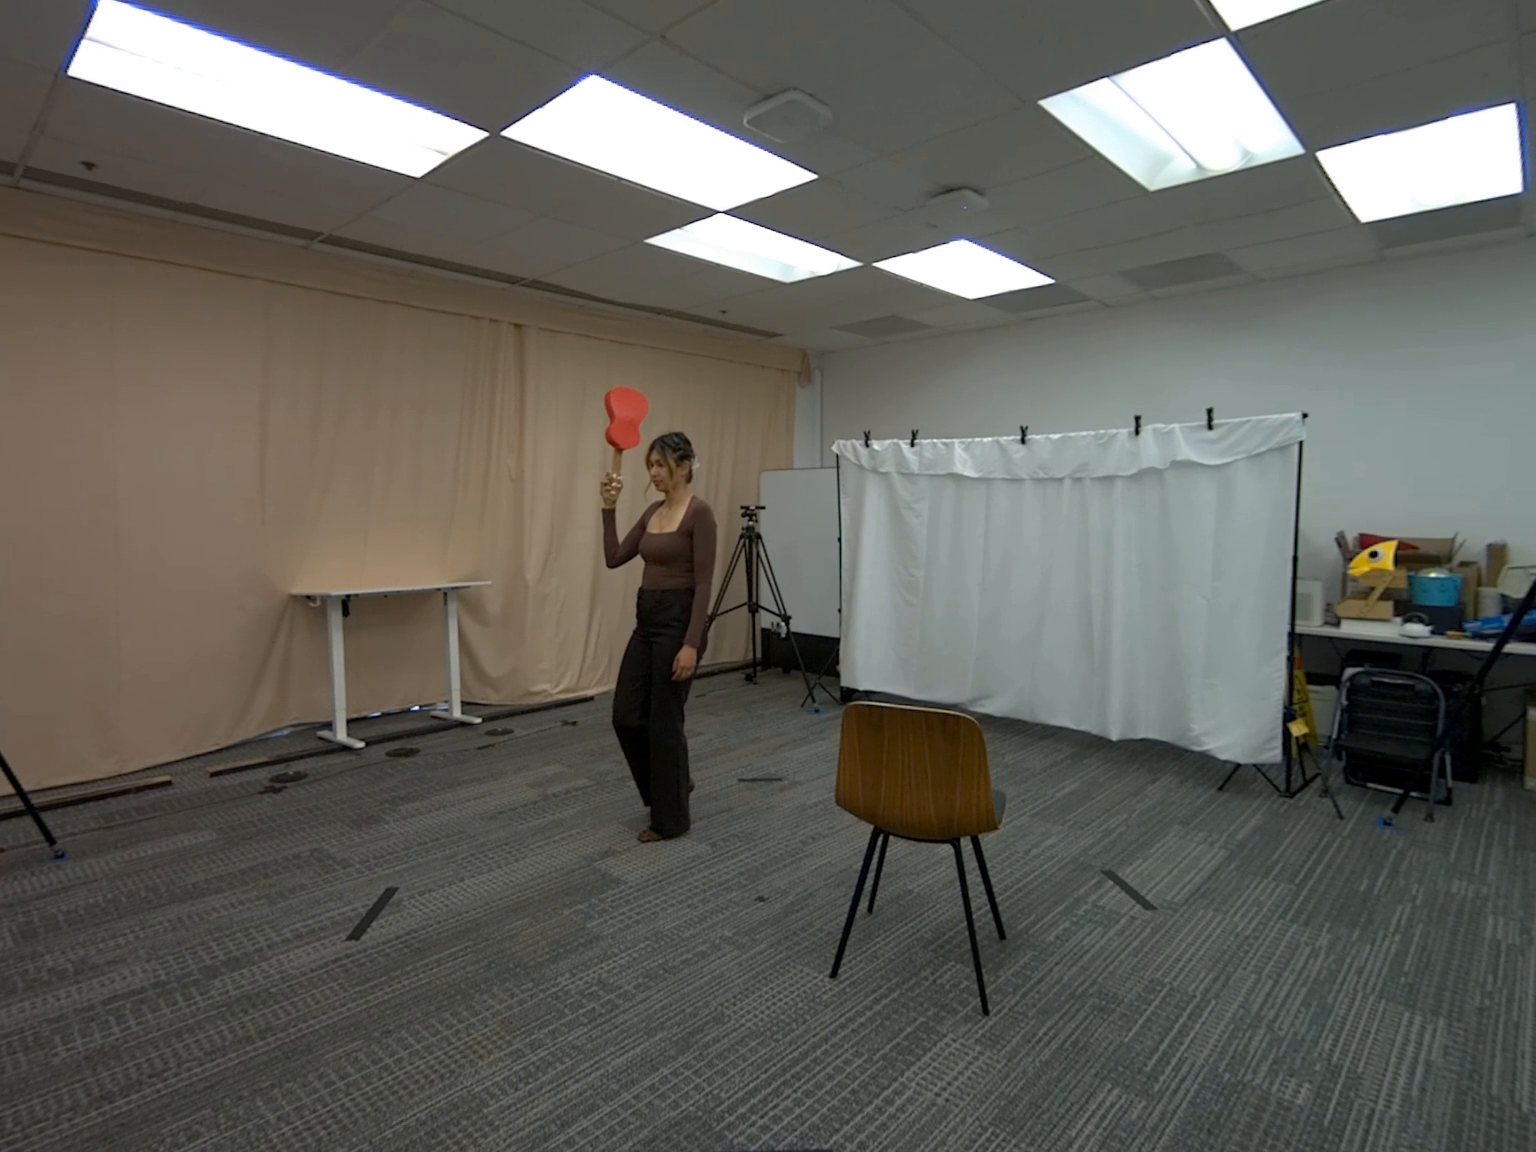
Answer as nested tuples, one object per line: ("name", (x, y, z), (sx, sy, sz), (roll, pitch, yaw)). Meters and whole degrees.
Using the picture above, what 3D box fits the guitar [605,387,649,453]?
("guitar", (-0.614, -0.575, 3.692), (0.187, 0.500, 0.072), (3, -9, -37))
